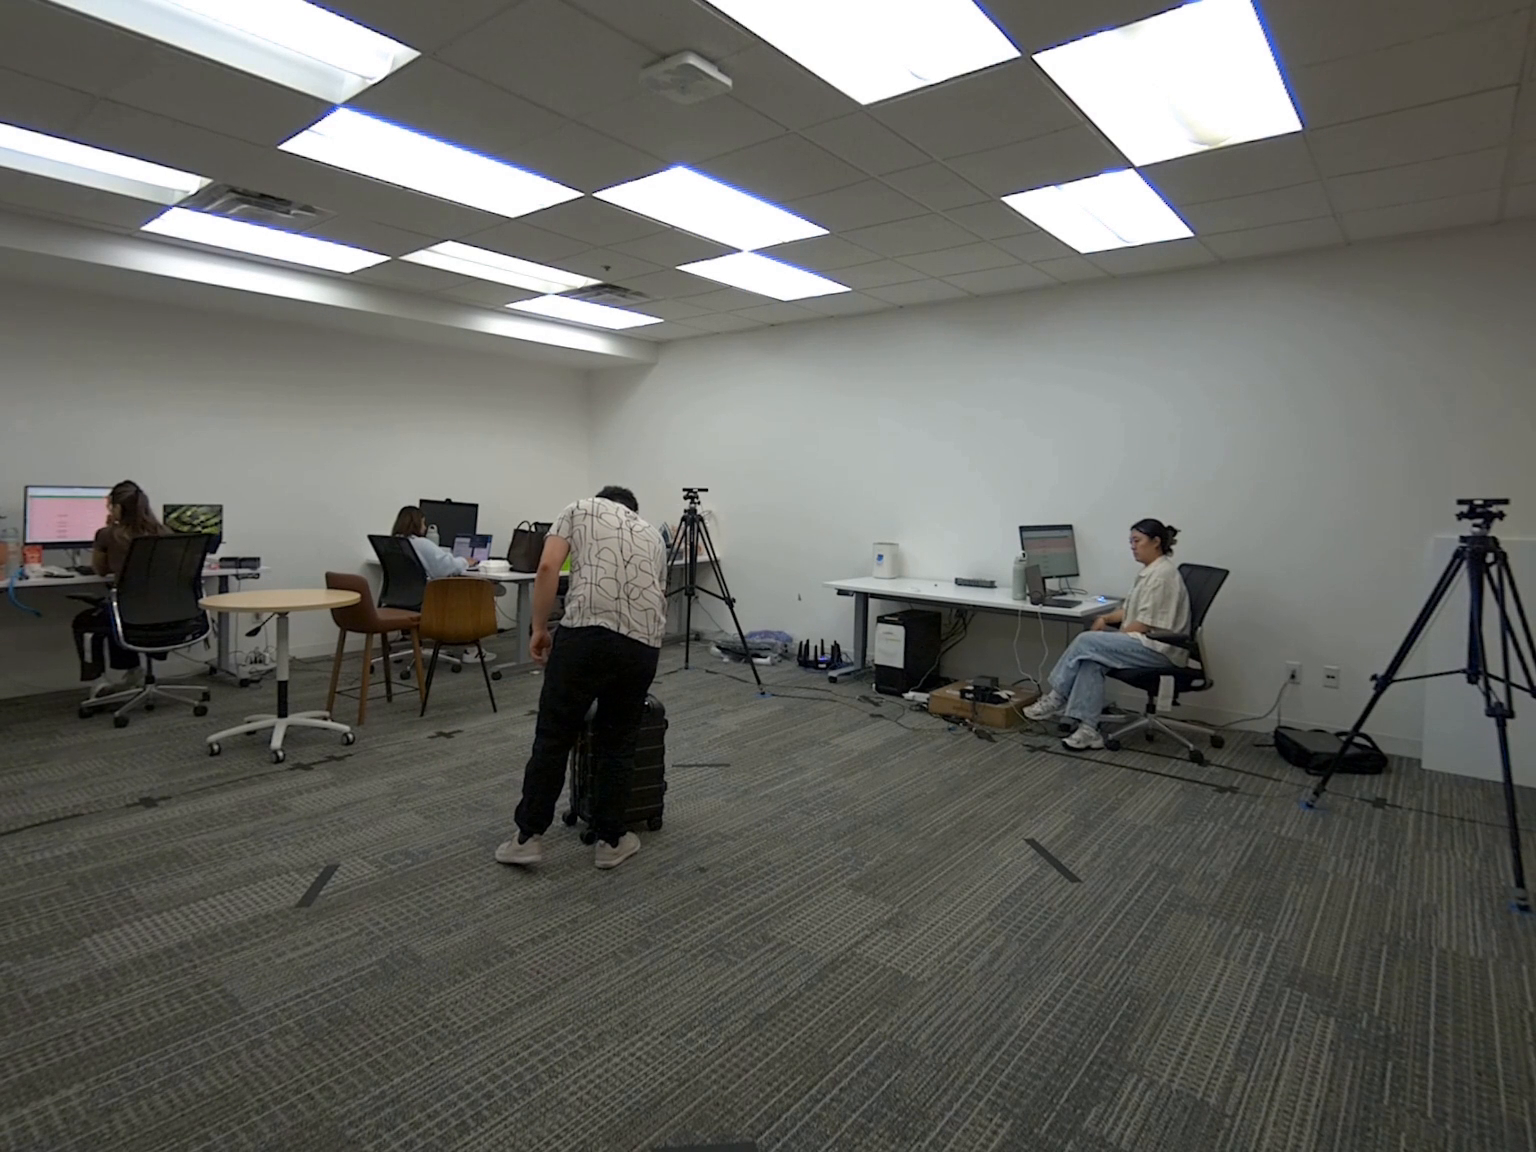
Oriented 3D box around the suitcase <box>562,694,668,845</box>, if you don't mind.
[{"bbox_3d":[-0.631,0.746,3.487,0.365,0.548,0.256,-1,3,-31],"label":"suitcase"}]
